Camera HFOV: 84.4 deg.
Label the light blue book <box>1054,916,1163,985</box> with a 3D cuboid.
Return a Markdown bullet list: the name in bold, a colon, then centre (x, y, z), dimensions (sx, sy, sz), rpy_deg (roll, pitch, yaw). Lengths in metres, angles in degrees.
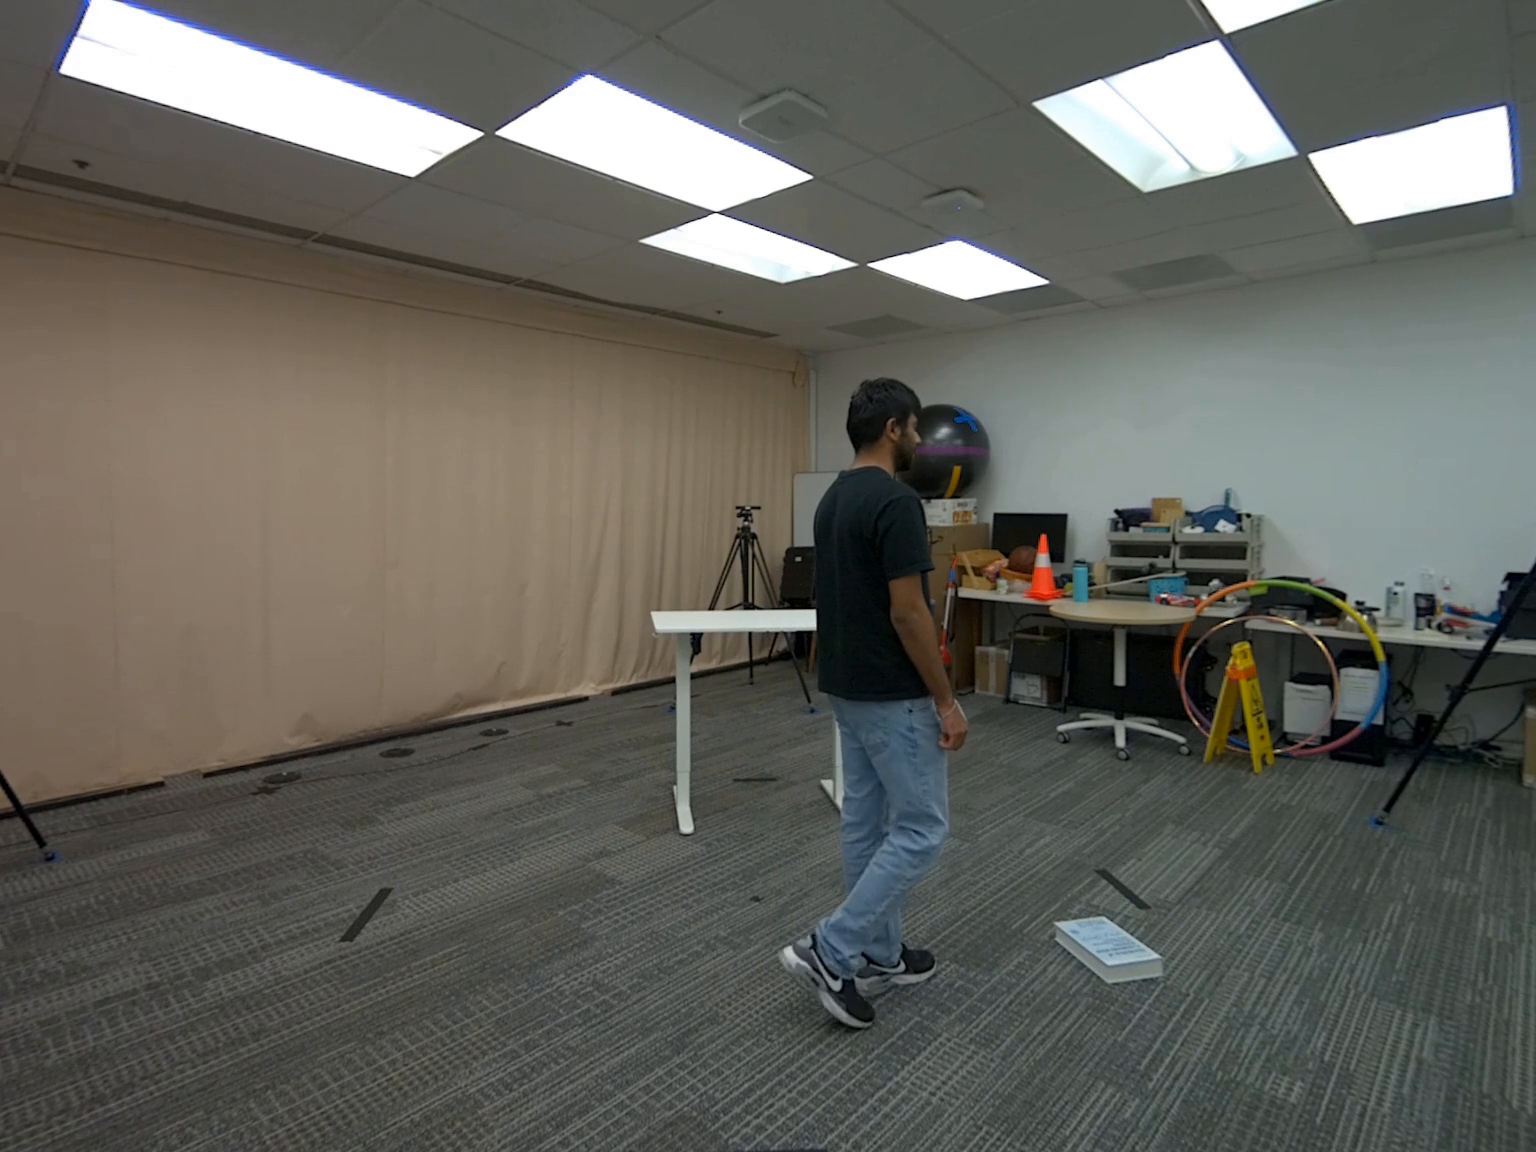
- **light blue book**: centre (1.052, 1.151, 2.574), dimensions (0.188, 0.059, 0.265), rpy_deg (-2, 4, -15)
